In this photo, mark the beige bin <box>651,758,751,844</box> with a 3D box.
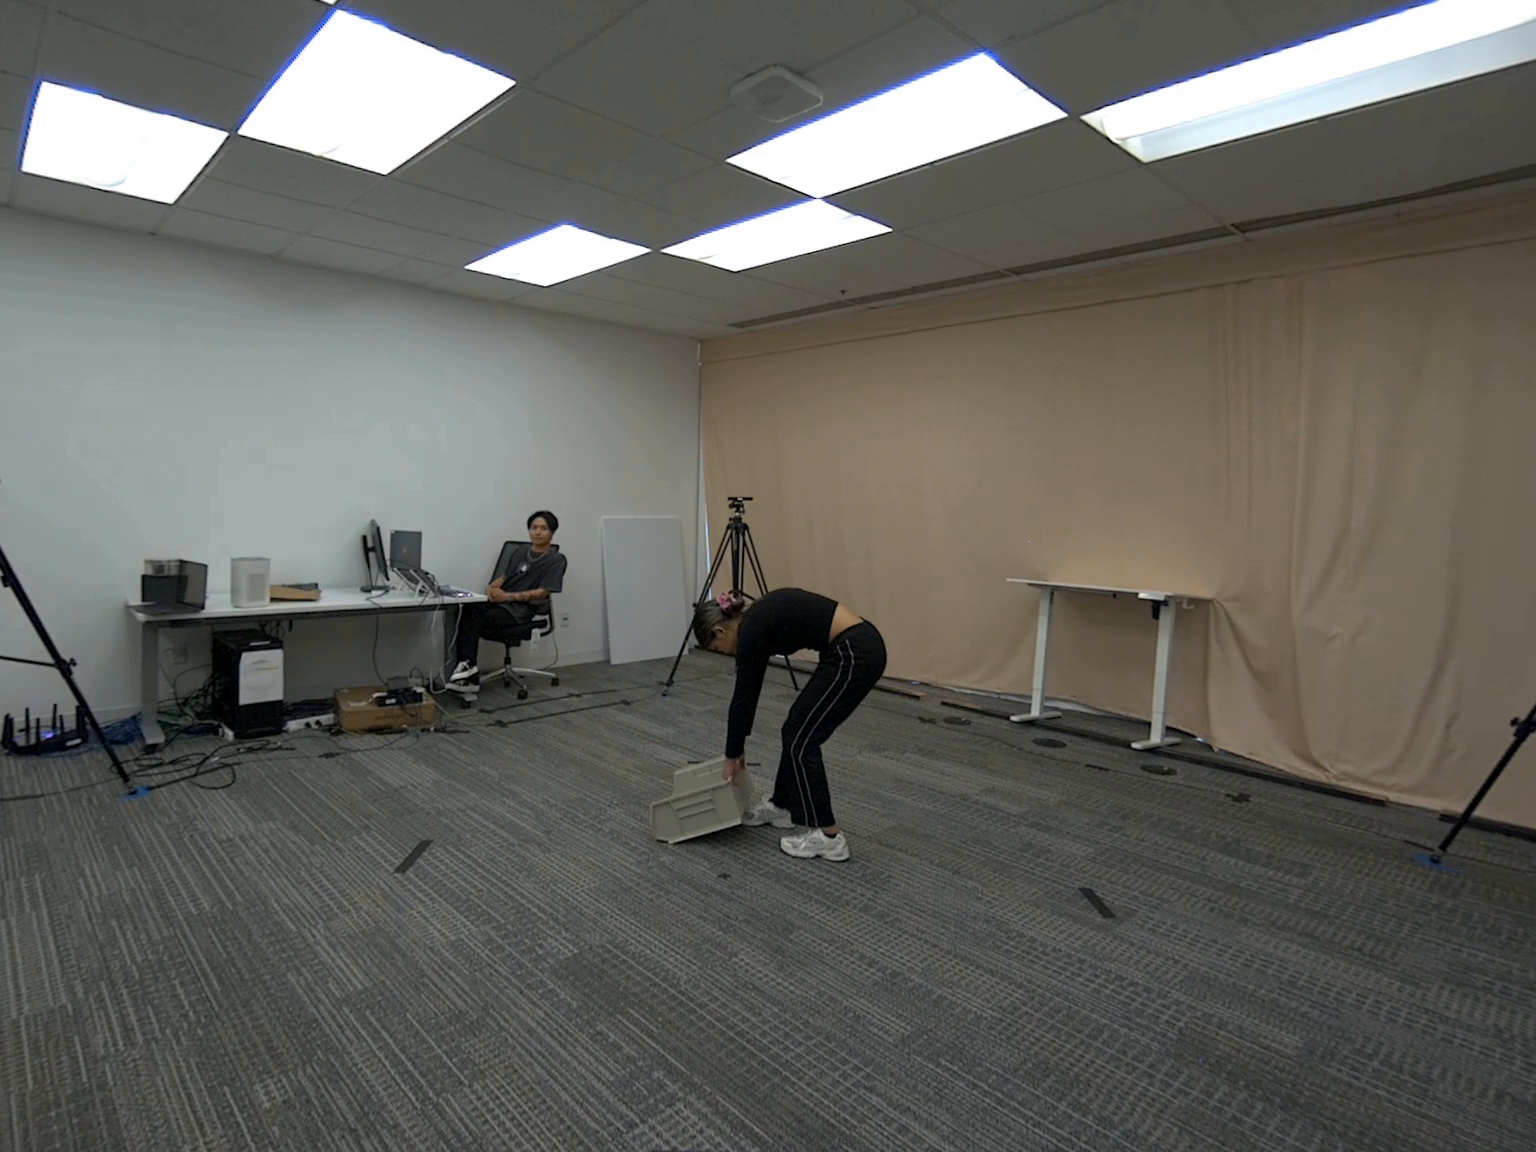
[{"bbox_3d":[-0.285,0.933,3.561,0.379,0.189,0.421,-17,2,9],"label":"beige bin"}]
